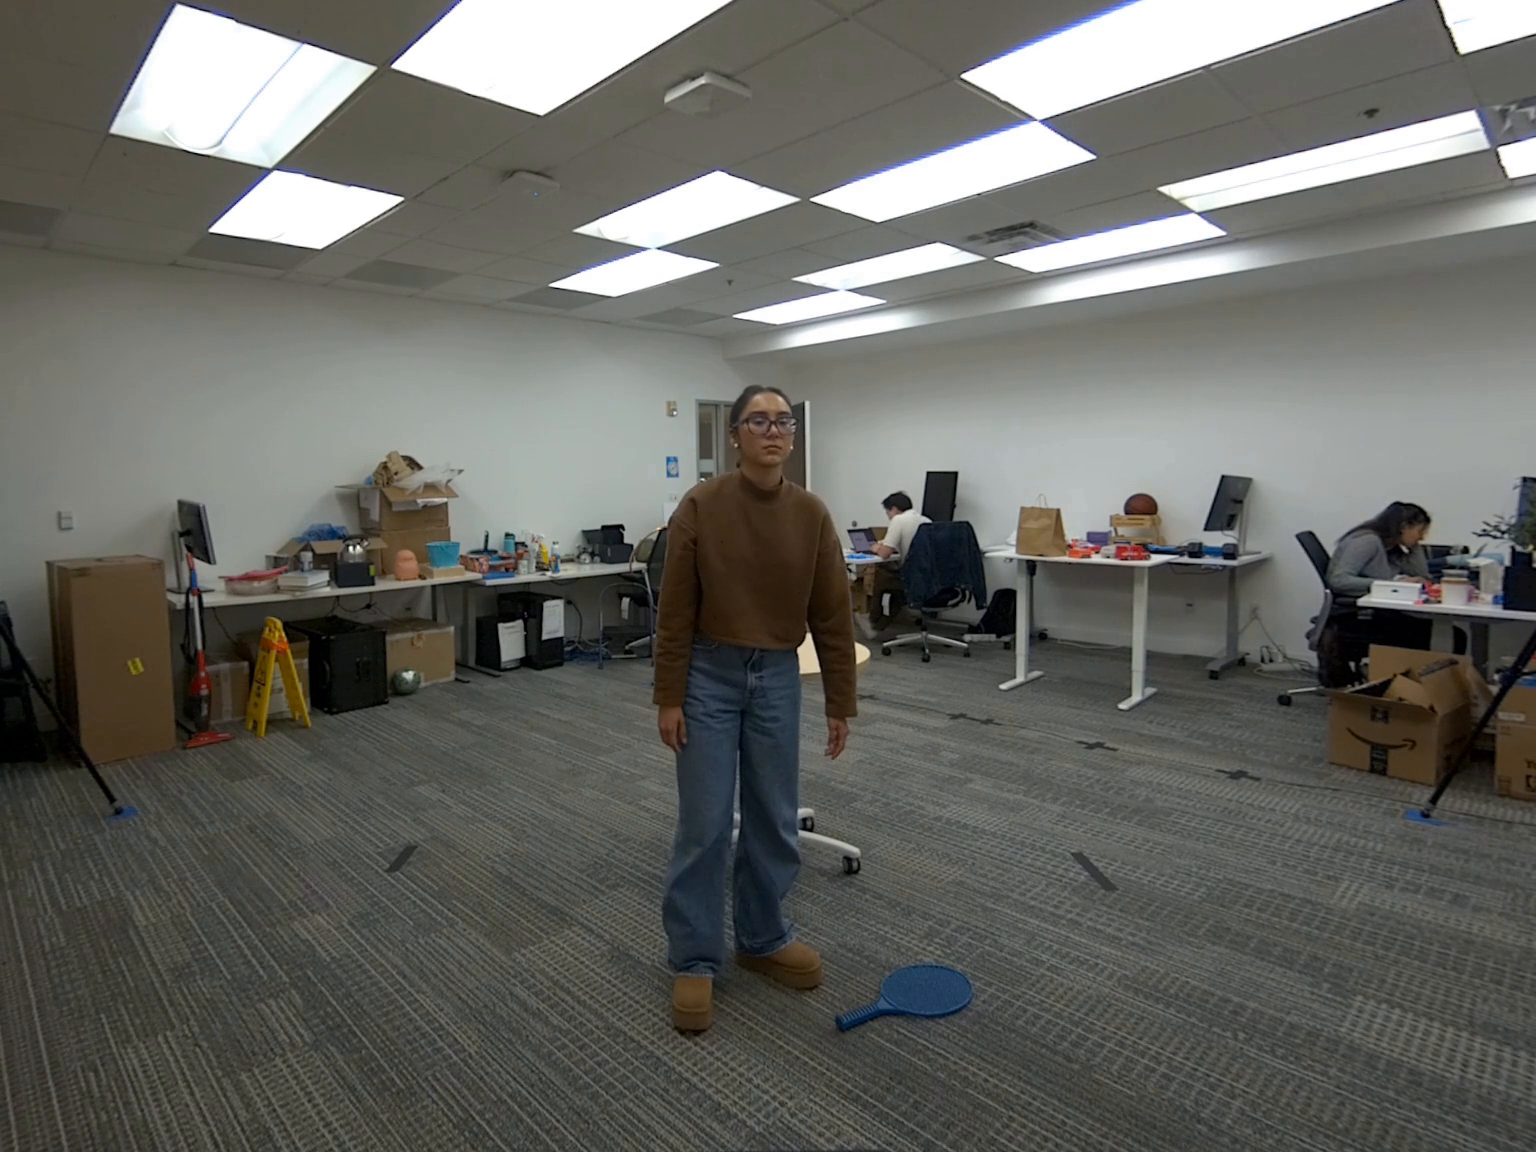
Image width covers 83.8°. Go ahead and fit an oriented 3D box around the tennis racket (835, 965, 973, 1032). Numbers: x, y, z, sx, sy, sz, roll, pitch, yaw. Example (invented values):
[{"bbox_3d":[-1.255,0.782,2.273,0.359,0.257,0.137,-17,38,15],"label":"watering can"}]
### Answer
[{"bbox_3d":[0.362,1.112,2.278,0.423,0.031,0.220,-3,7,-29],"label":"tennis racket"}]
